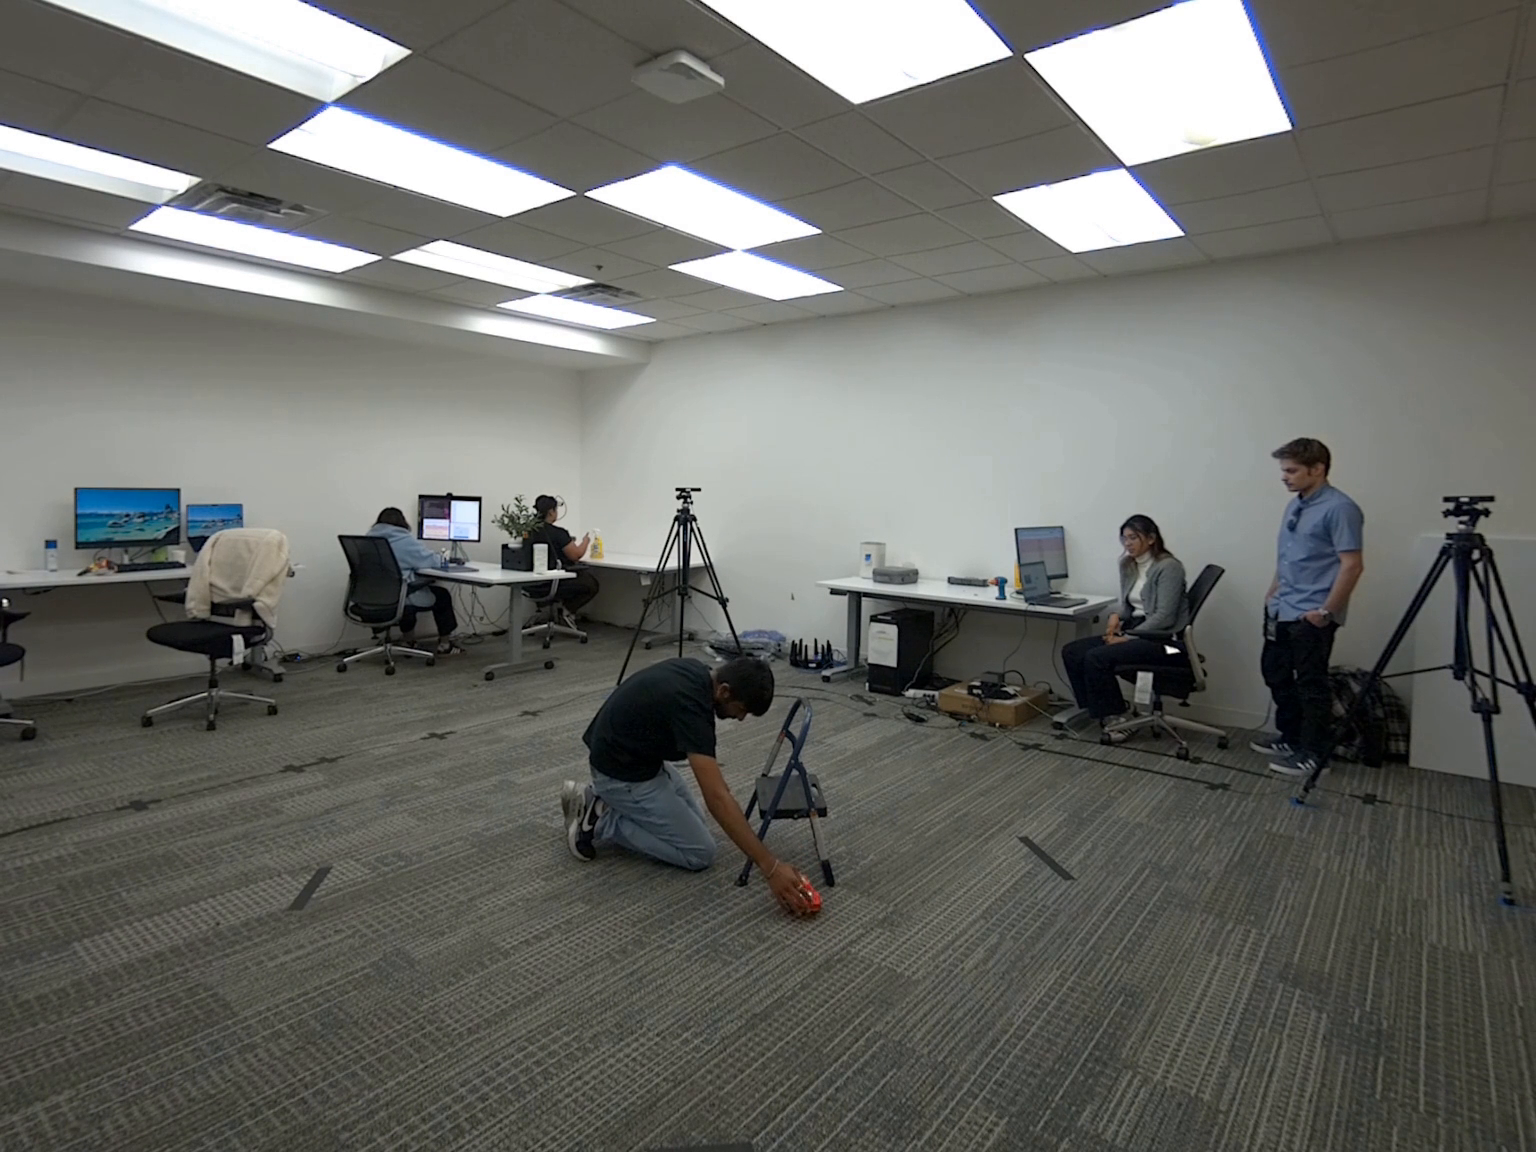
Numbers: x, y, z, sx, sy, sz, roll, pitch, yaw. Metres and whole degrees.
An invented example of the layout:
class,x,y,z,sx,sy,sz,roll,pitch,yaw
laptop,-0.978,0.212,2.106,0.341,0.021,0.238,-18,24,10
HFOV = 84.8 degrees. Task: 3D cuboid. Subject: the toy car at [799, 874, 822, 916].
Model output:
class,x,y,z,sx,sy,sz,roll,pitch,yaw
toy car,0.094,1.063,2.870,0.129,0.084,0.256,2,-5,-12
